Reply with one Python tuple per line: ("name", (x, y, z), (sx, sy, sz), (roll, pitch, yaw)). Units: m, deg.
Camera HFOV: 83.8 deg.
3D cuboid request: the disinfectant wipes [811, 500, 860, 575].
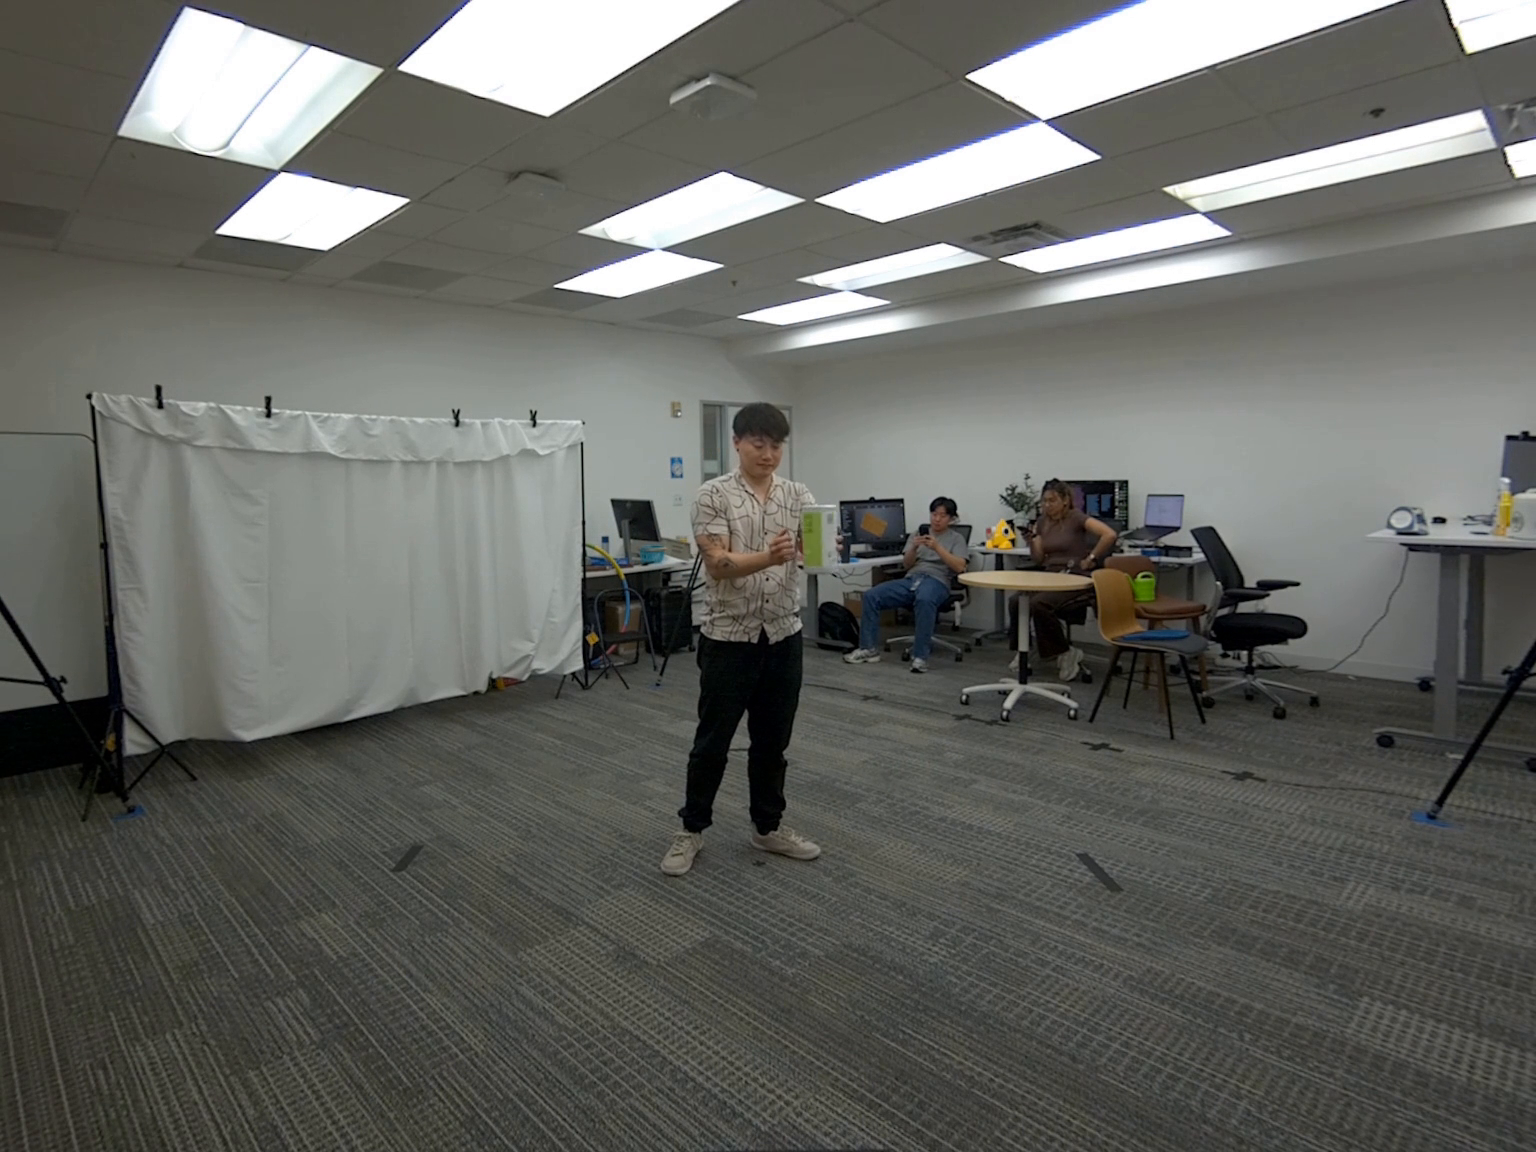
("disinfectant wipes", (0.208, -0.123, 2.692), (0.118, 0.217, 0.118), (-4, 1, -2))
